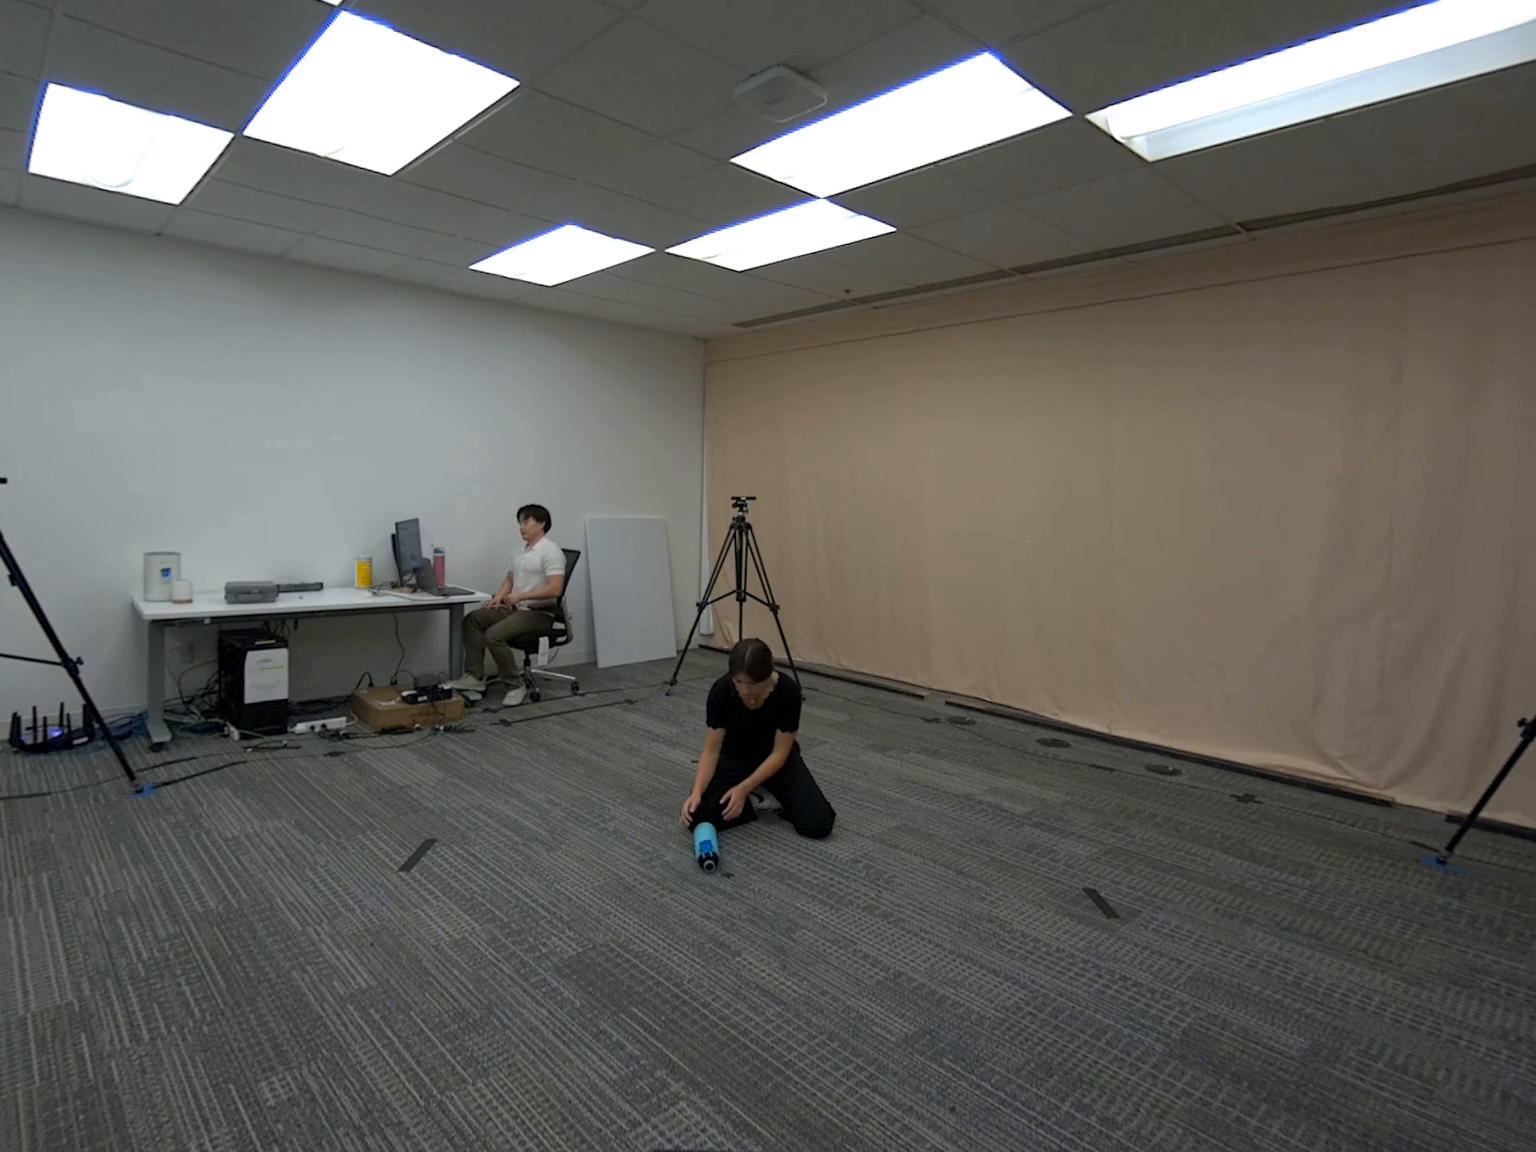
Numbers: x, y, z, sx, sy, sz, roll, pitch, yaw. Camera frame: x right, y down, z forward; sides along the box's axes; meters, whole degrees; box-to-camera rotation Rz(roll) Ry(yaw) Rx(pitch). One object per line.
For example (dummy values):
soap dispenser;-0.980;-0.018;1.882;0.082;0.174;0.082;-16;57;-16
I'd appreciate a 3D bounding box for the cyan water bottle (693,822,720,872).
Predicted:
cyan water bottle;-0.249;1.049;3.242;0.092;0.092;0.285;1;5;-6
